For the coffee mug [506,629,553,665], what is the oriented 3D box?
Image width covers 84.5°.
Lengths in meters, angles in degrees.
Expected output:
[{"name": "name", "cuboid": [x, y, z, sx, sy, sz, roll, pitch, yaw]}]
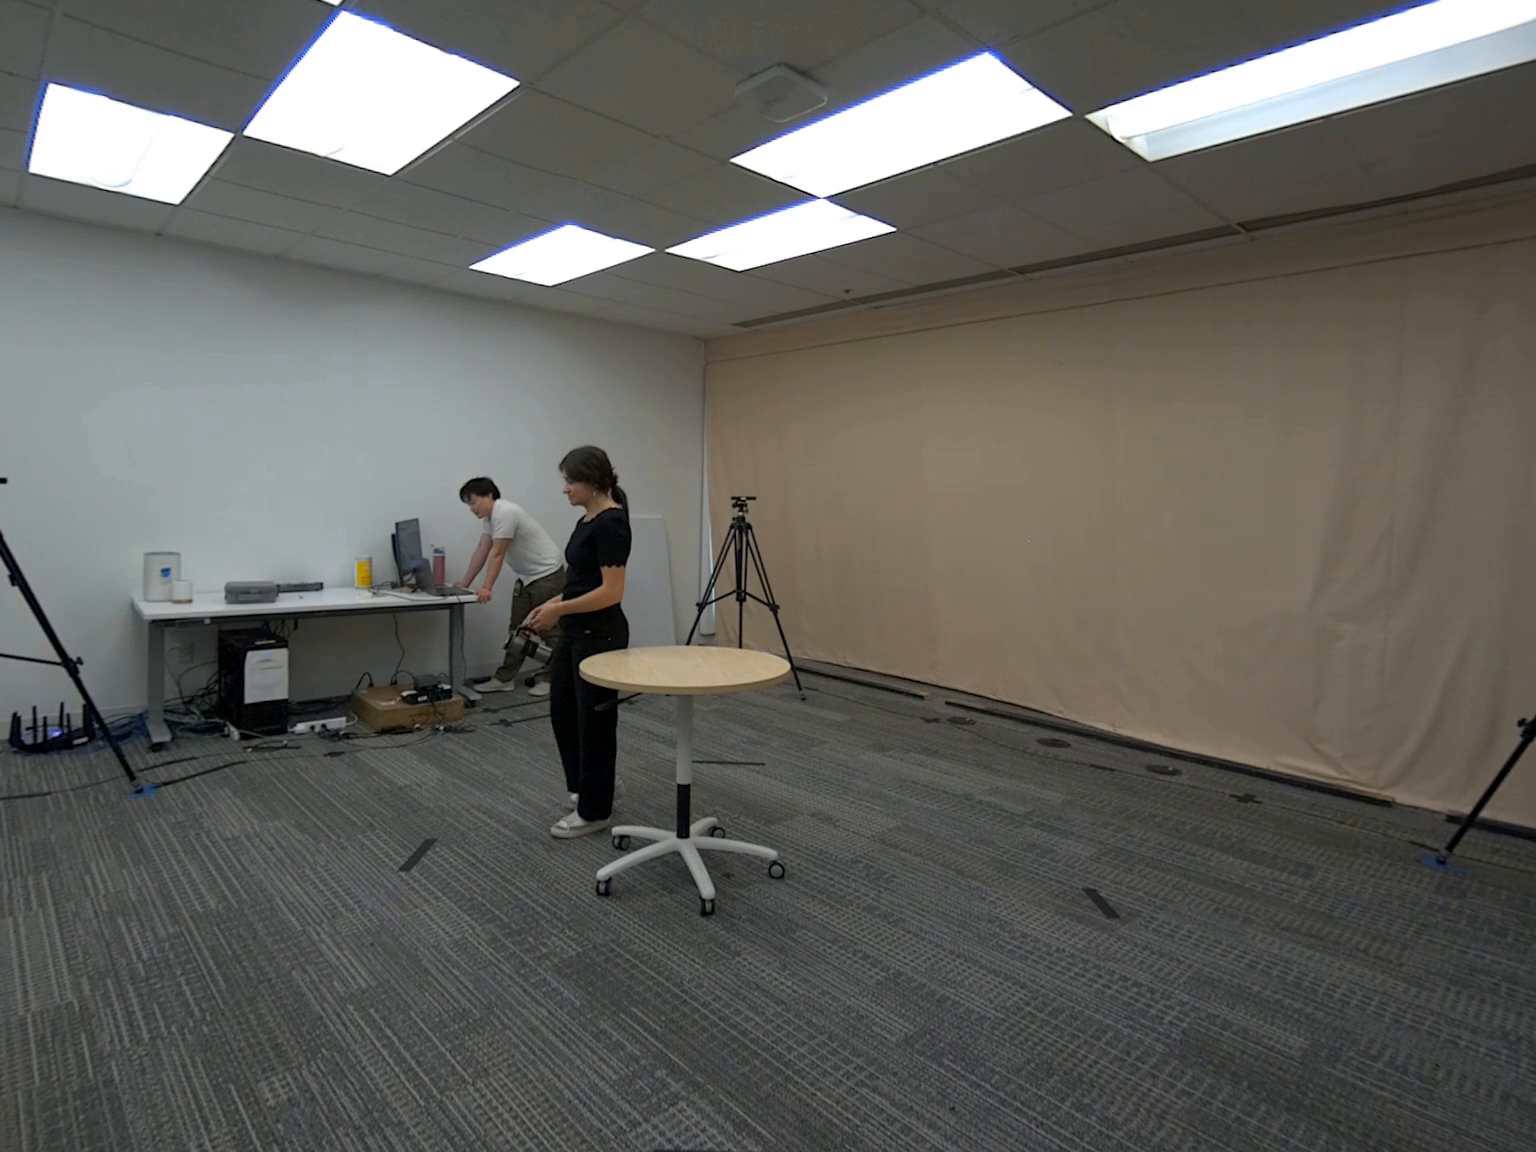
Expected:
[{"name": "coffee mug", "cuboid": [-0.988, 0.288, 3.526, 0.200, 0.121, 0.090, 26, 27, -16]}]
